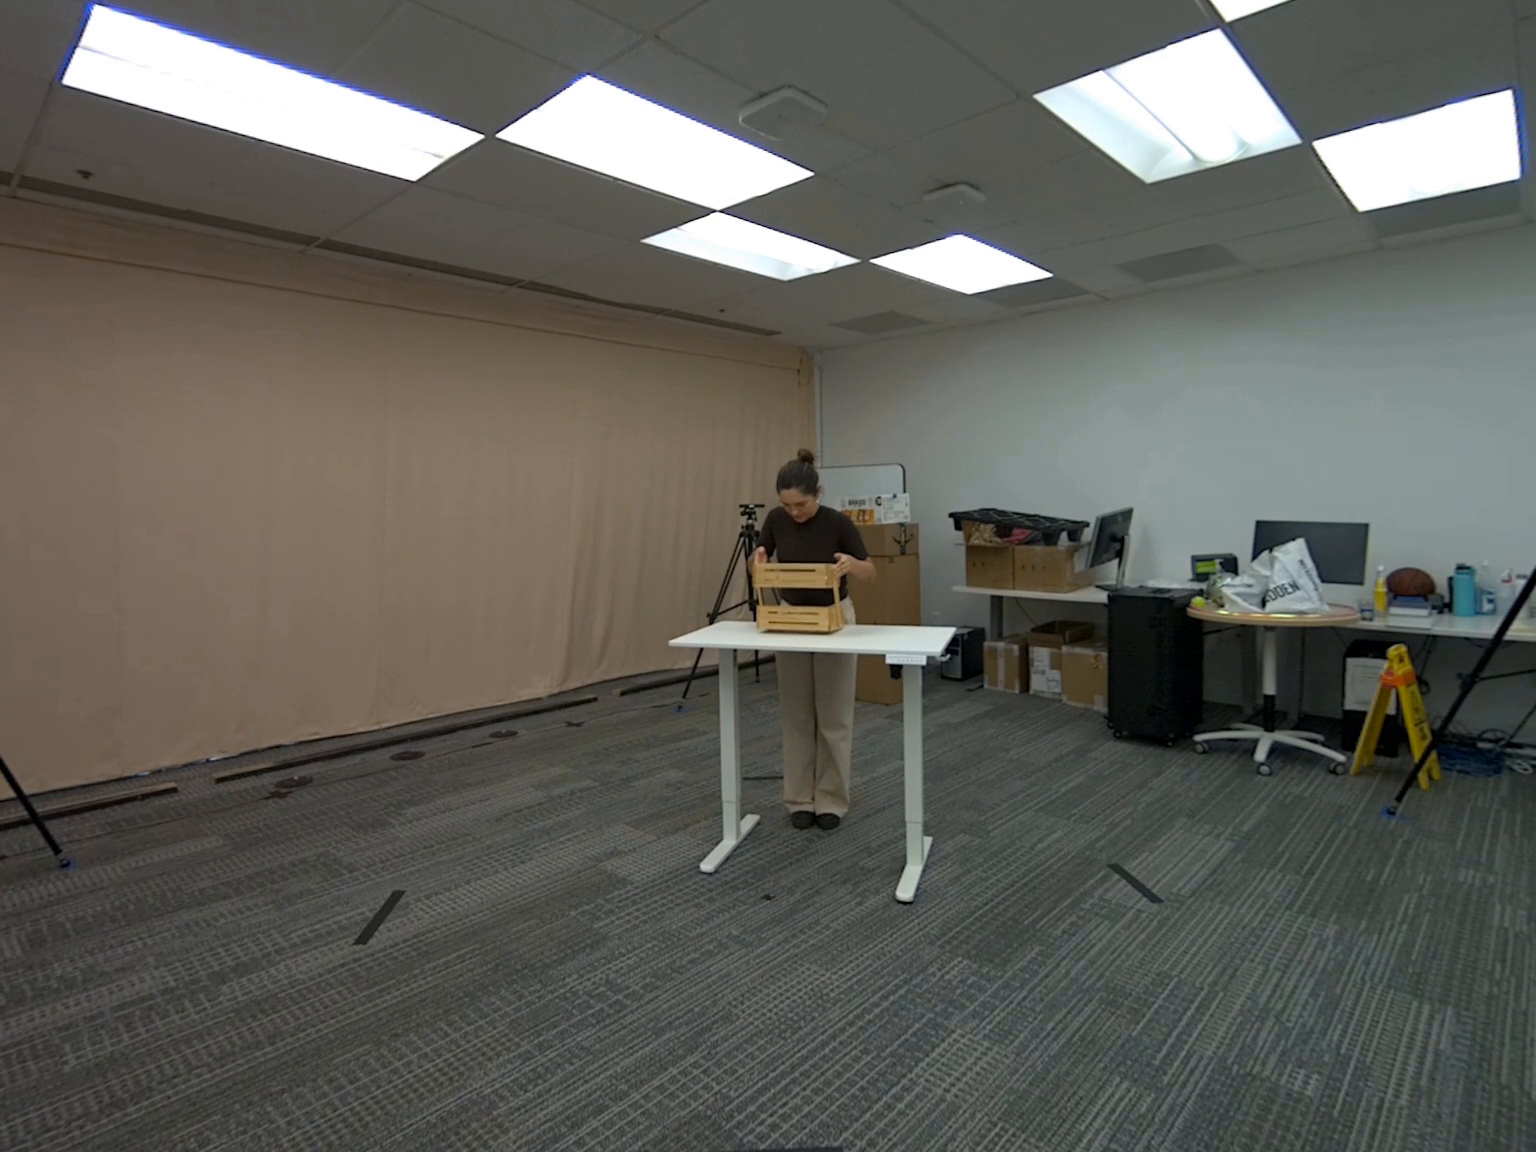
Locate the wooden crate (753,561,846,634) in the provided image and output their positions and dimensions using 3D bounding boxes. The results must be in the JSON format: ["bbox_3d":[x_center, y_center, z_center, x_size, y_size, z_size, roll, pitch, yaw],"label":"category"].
[{"bbox_3d":[0.135,0.083,3.385,0.331,0.273,0.295,0,-1,21],"label":"wooden crate"}]
